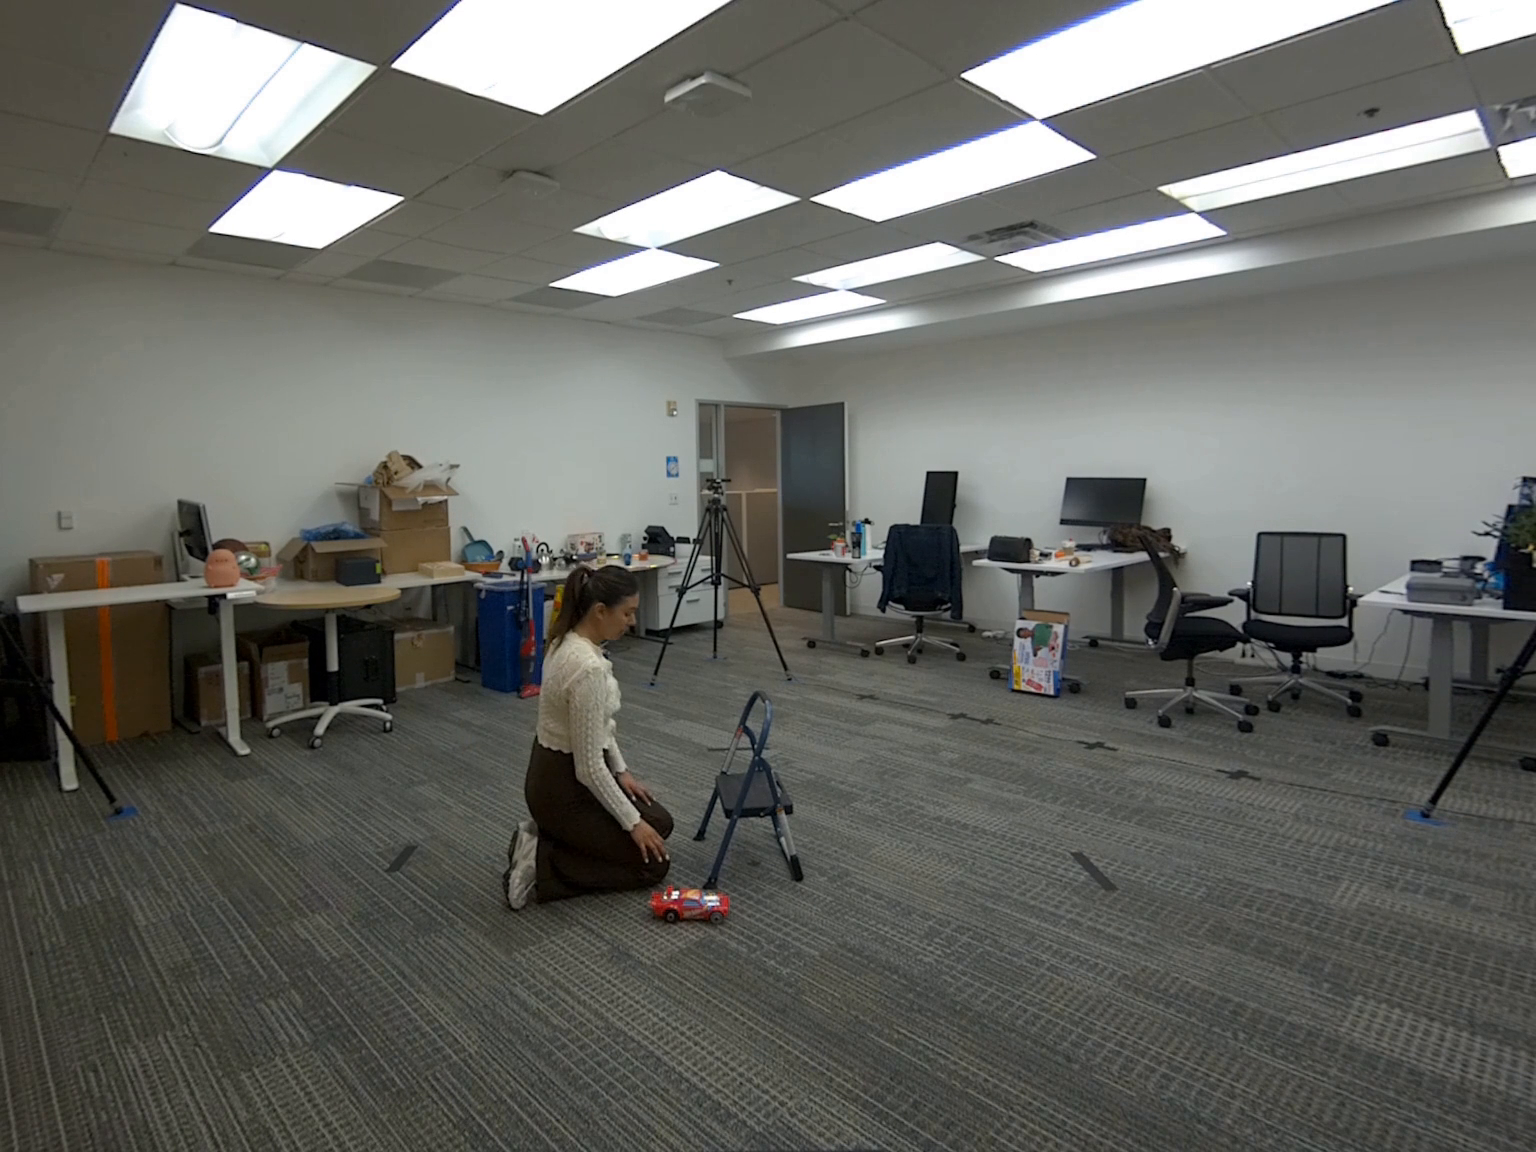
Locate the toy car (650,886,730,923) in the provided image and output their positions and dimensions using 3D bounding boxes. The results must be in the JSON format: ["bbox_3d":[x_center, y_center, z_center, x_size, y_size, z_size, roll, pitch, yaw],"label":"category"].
[{"bbox_3d":[-0.252,1.062,2.731,0.255,0.083,0.131,10,6,1],"label":"toy car"}]
